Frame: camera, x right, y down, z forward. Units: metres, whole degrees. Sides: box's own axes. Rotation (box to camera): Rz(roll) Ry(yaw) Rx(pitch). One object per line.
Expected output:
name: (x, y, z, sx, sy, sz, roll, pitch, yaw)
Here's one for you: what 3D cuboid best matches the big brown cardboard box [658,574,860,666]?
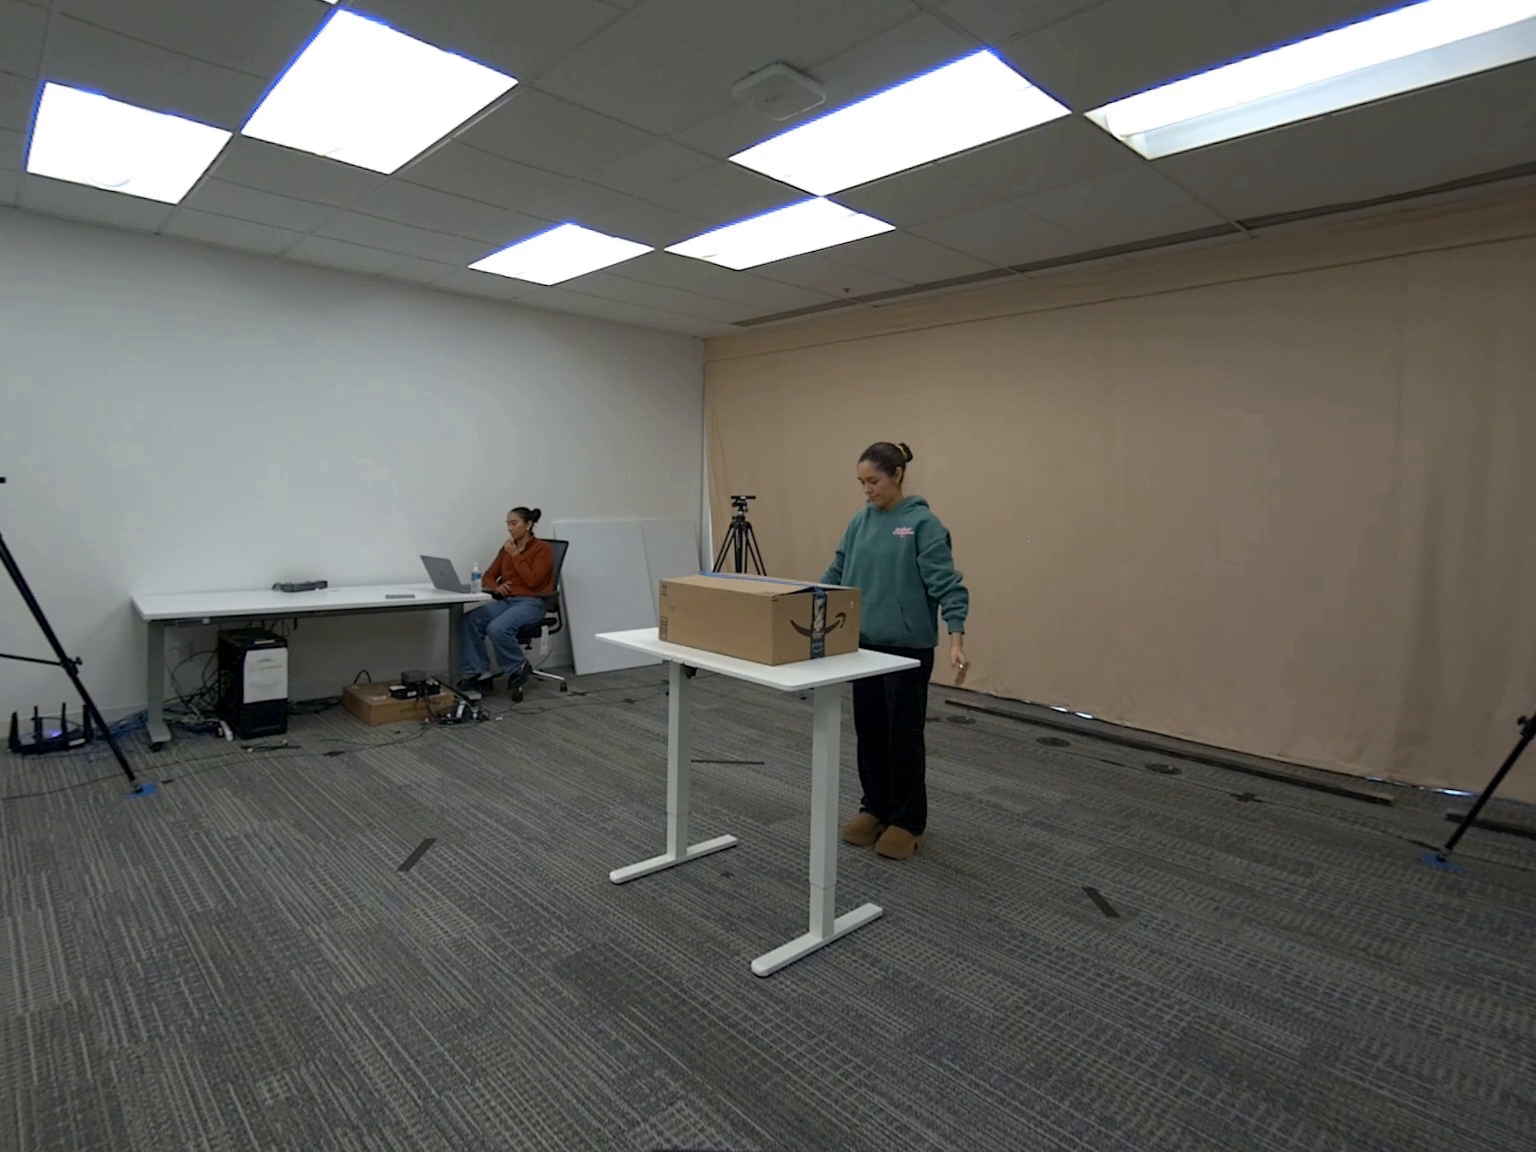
big brown cardboard box: (-0.040, 0.135, 2.889, 0.408, 0.232, 0.604, -4, 7, -44)
